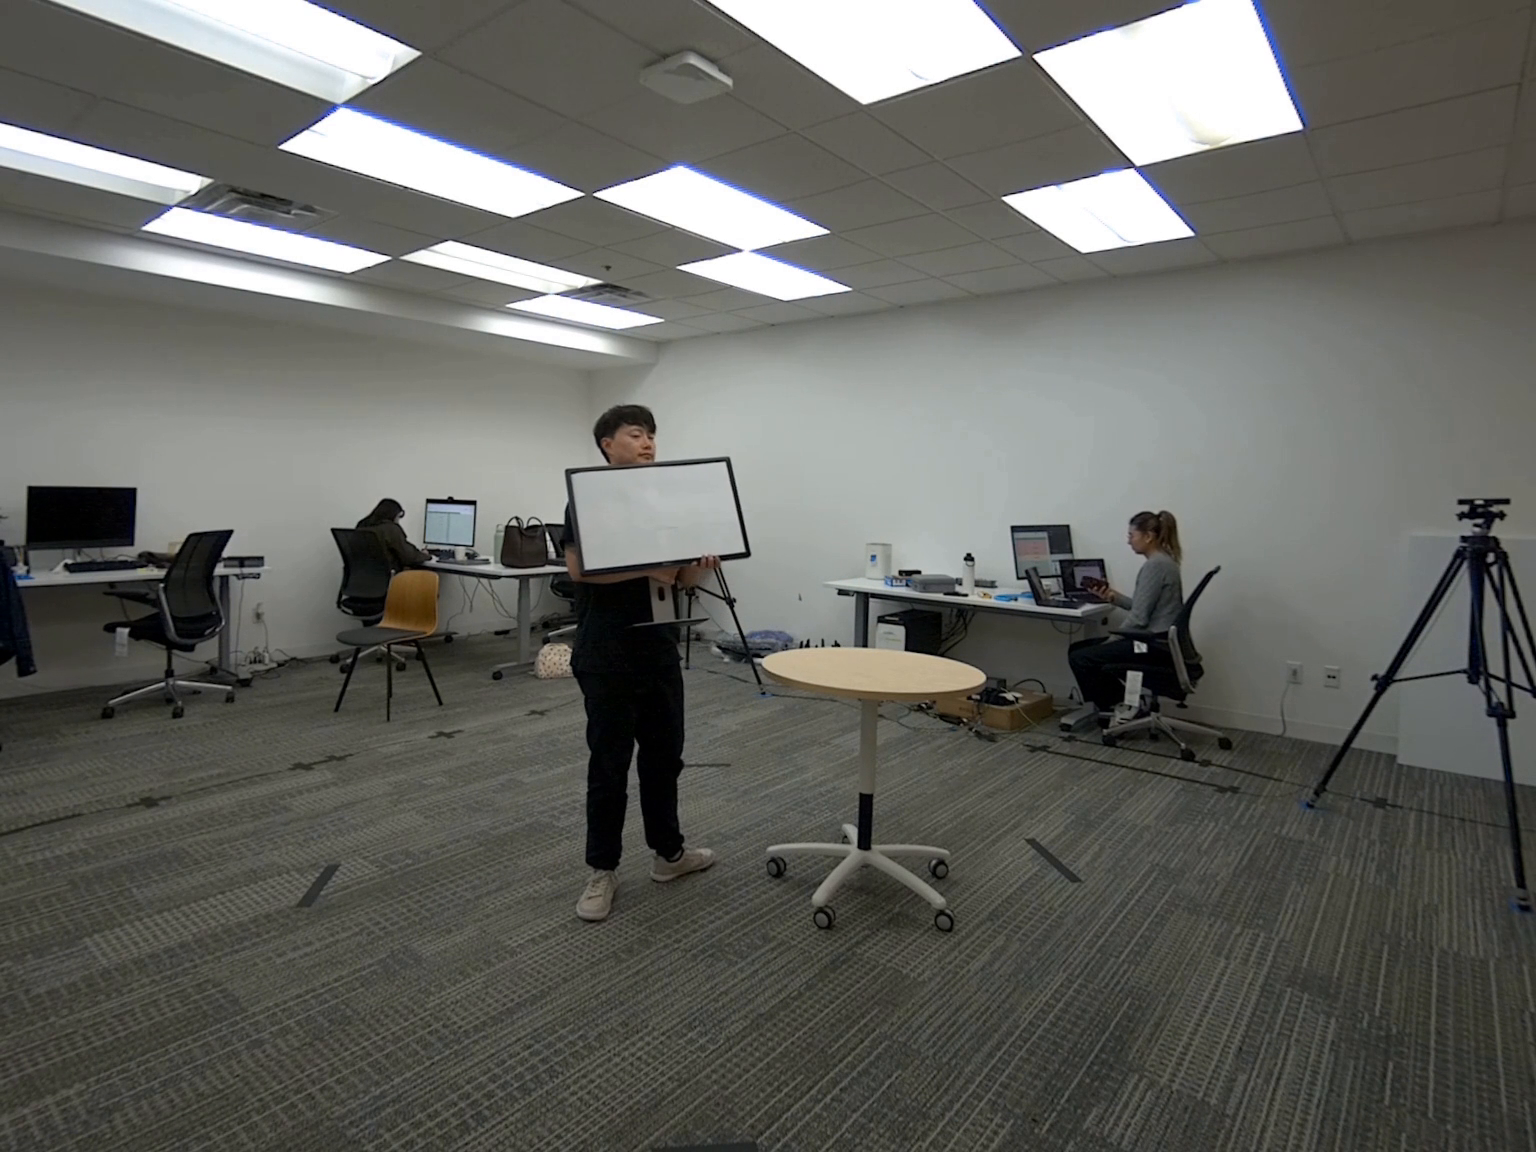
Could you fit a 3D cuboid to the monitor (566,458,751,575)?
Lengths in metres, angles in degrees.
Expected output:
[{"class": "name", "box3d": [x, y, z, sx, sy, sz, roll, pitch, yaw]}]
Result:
[{"class": "monitor", "box3d": [-0.357, -0.104, 2.775, 0.530, 0.527, 0.188, -7, -8, -19]}]
